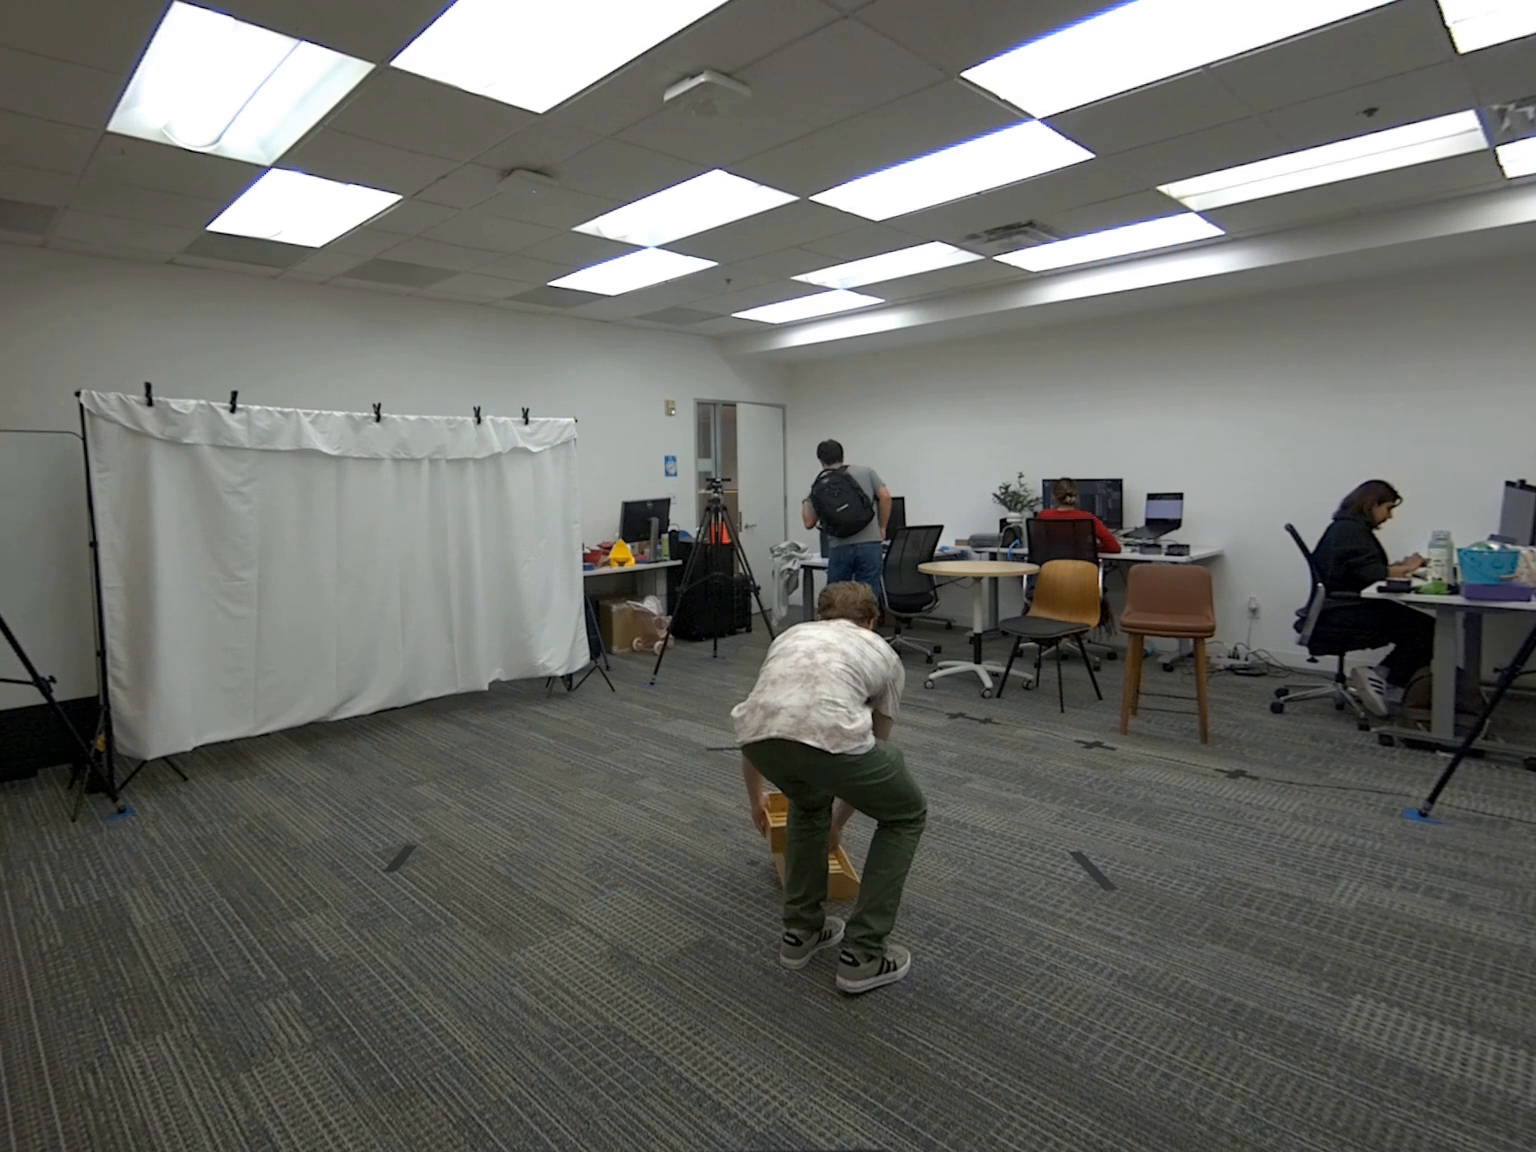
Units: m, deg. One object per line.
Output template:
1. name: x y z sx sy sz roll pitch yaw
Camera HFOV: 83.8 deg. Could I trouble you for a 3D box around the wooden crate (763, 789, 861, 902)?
1. wooden crate: 0.150 0.923 2.958 0.300 0.272 0.328 -2 5 -8
